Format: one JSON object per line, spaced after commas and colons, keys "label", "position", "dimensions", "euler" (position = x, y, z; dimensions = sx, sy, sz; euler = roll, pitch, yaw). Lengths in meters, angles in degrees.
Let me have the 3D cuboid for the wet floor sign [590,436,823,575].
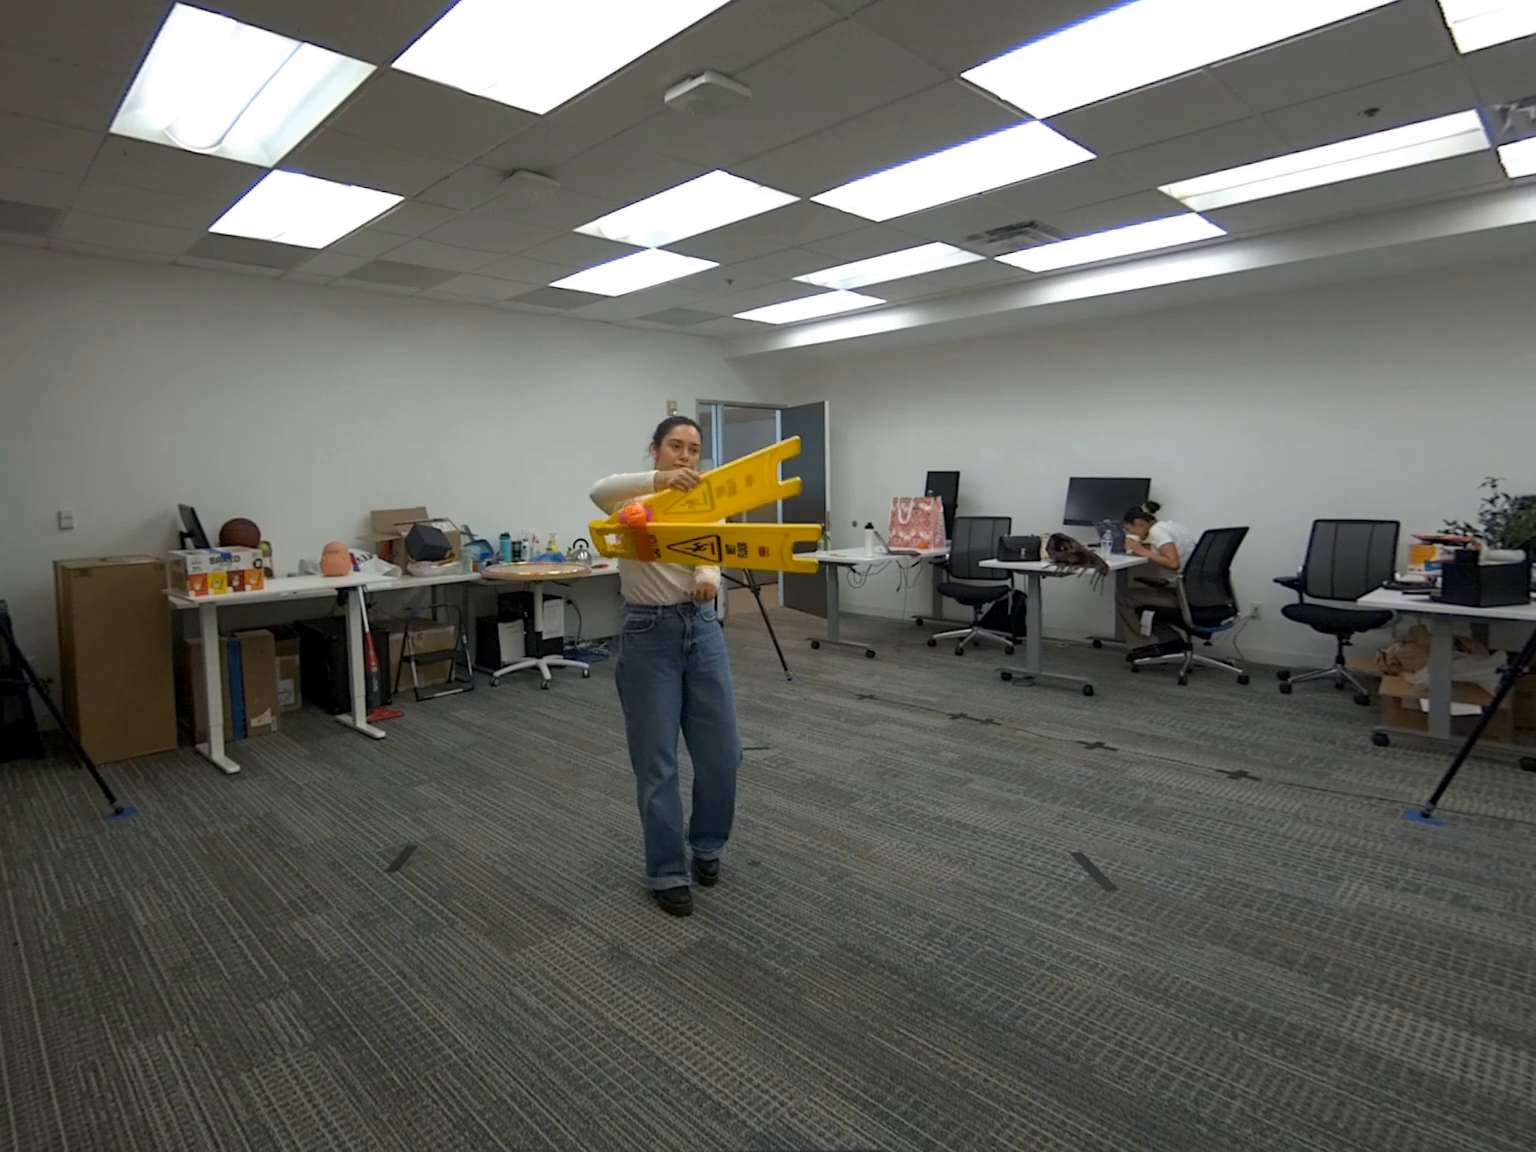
{"label": "wet floor sign", "position": [-0.194, -0.155, 2.494], "dimensions": [0.646, 0.298, 0.275], "euler": [-11, -28, -1]}
